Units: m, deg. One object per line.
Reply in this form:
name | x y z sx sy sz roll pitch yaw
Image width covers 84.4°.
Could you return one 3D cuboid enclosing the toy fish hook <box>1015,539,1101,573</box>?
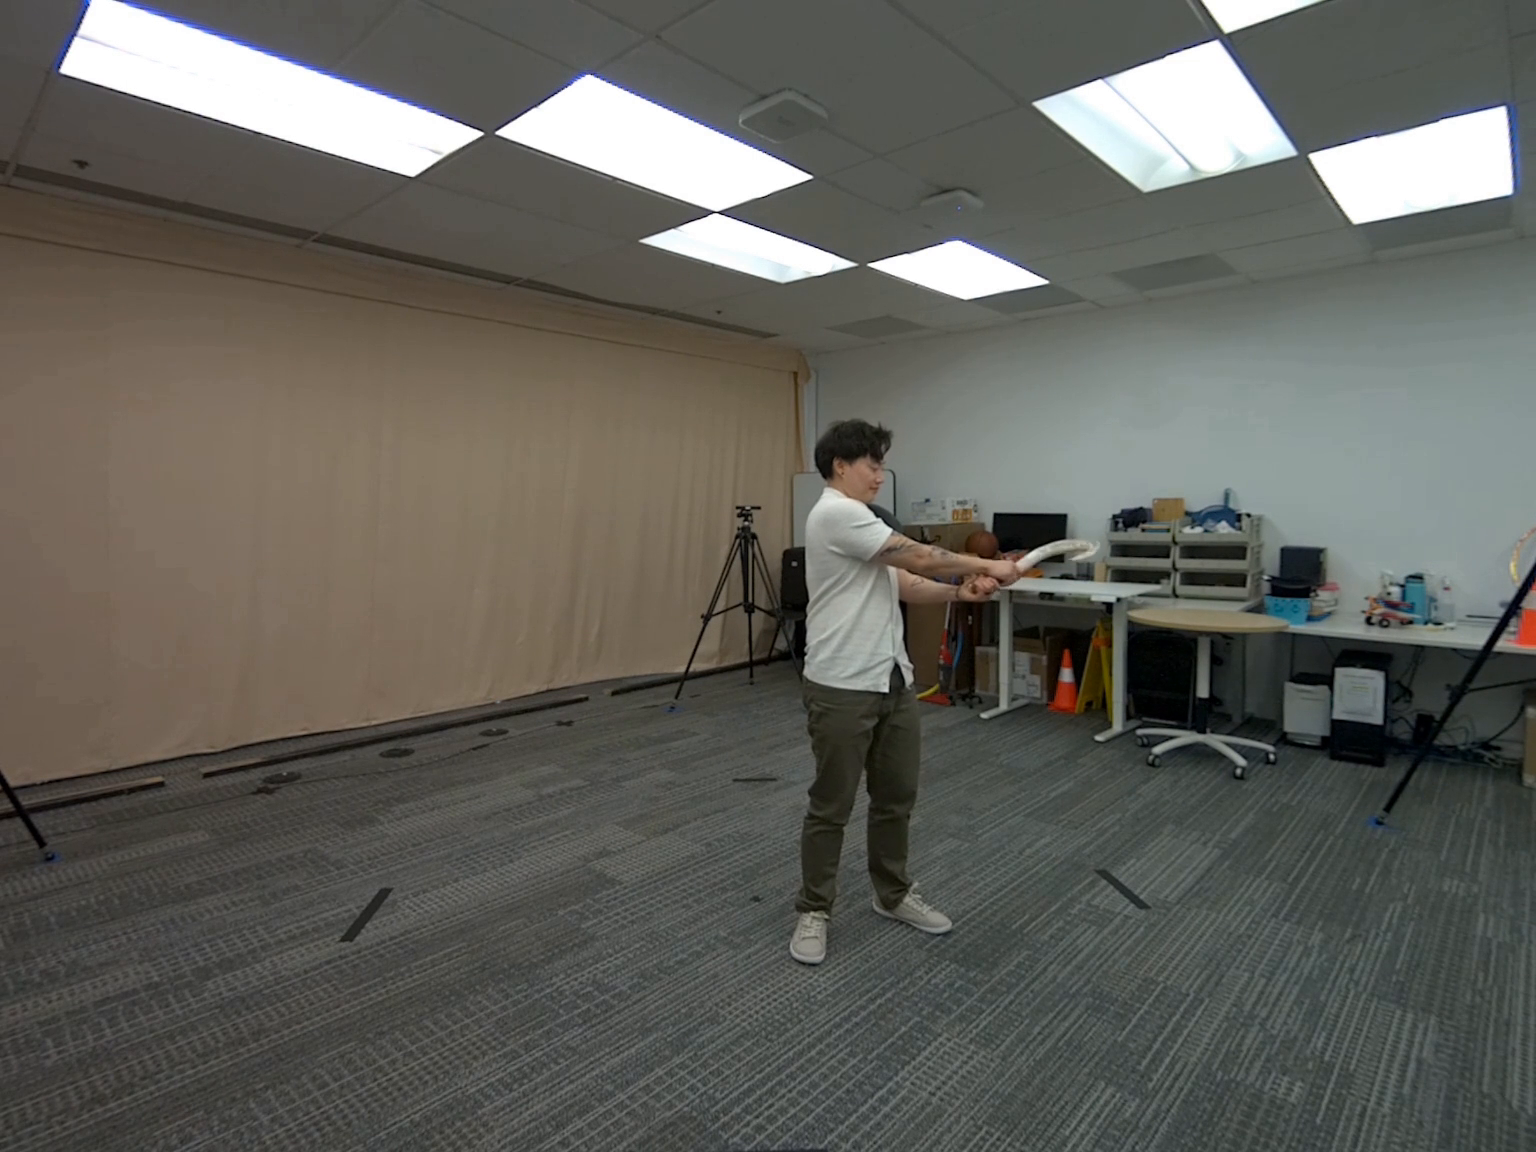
toy fish hook | 0.859 -0.028 2.694 0.498 0.048 0.230 -22 10 -23
